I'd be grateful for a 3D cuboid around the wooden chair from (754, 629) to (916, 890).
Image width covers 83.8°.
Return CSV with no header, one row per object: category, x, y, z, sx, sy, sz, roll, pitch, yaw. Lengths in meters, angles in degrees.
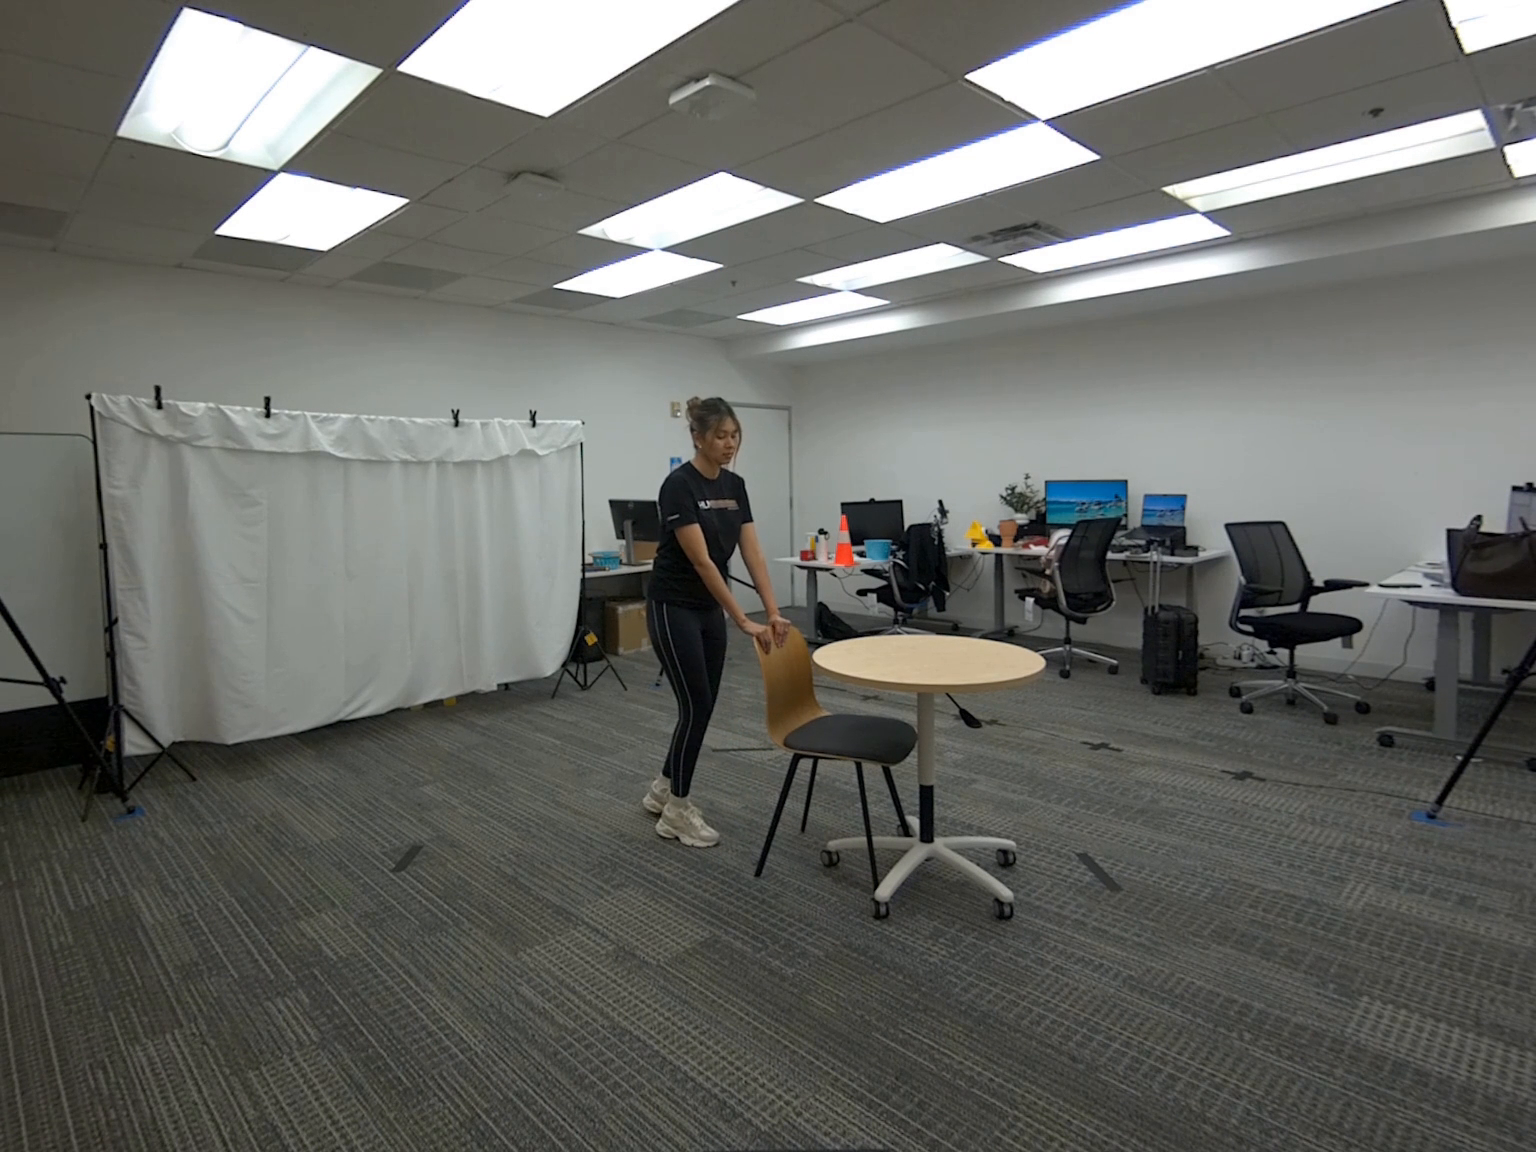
wooden chair,0.247,0.618,3.065,0.535,0.876,0.468,-4,2,27
